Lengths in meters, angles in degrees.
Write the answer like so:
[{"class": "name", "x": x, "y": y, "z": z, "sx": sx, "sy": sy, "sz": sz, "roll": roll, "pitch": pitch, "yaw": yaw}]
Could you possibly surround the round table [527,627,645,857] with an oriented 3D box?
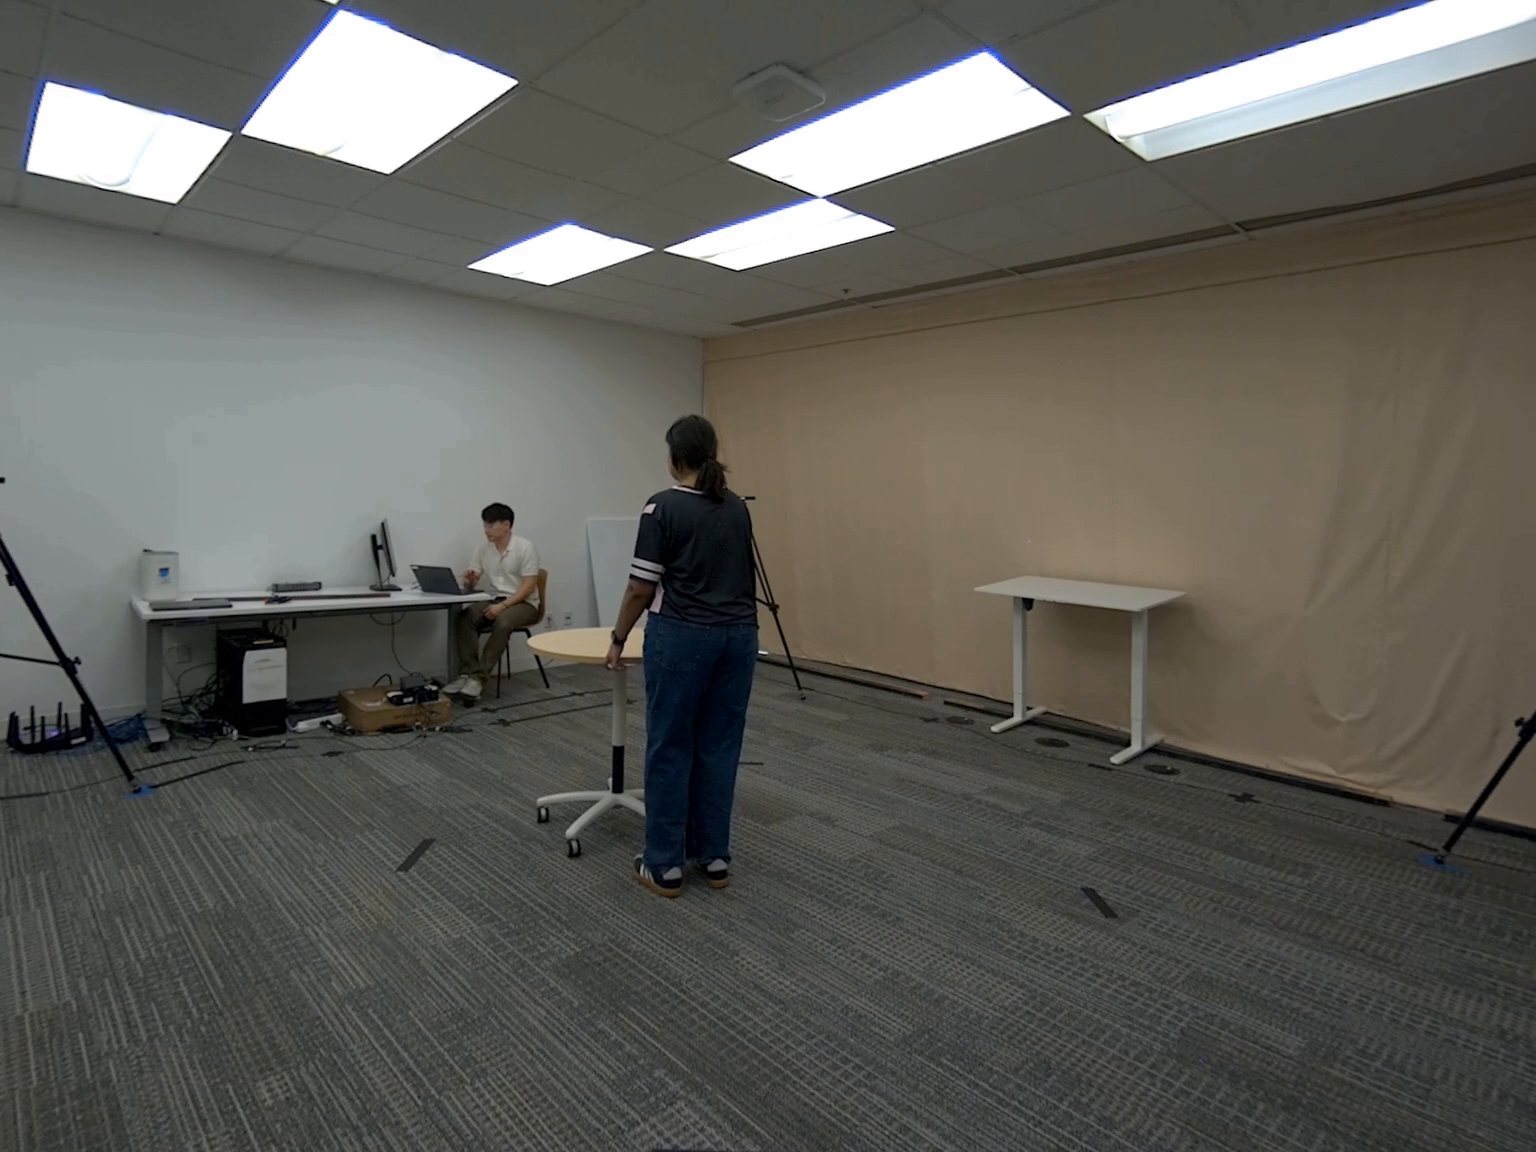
[{"class": "round table", "x": -0.627, "y": 0.662, "z": 3.523, "sx": 0.784, "sy": 0.785, "sz": 0.787, "roll": 2, "pitch": 3, "yaw": -1}]
